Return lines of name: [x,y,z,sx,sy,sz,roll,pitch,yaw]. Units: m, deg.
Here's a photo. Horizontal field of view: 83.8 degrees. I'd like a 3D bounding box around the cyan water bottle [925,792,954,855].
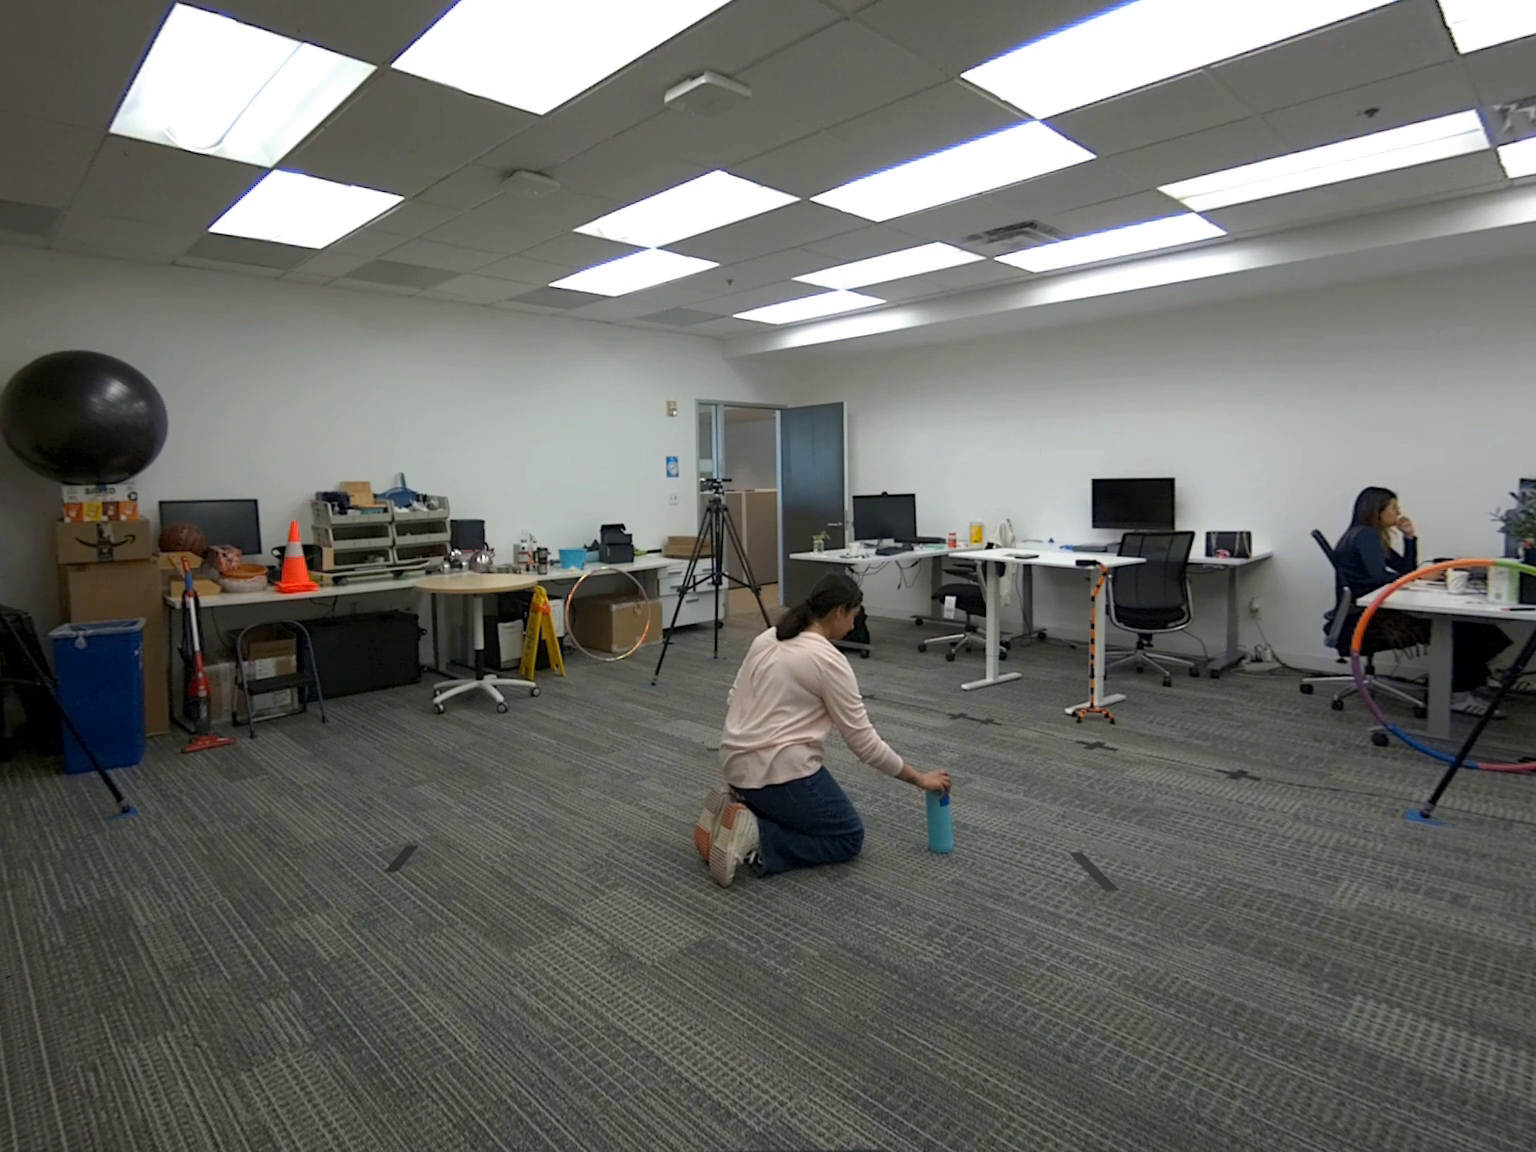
cyan water bottle: [0.634,0.872,3.188,0.092,0.283,0.092,-5,3,-1]
